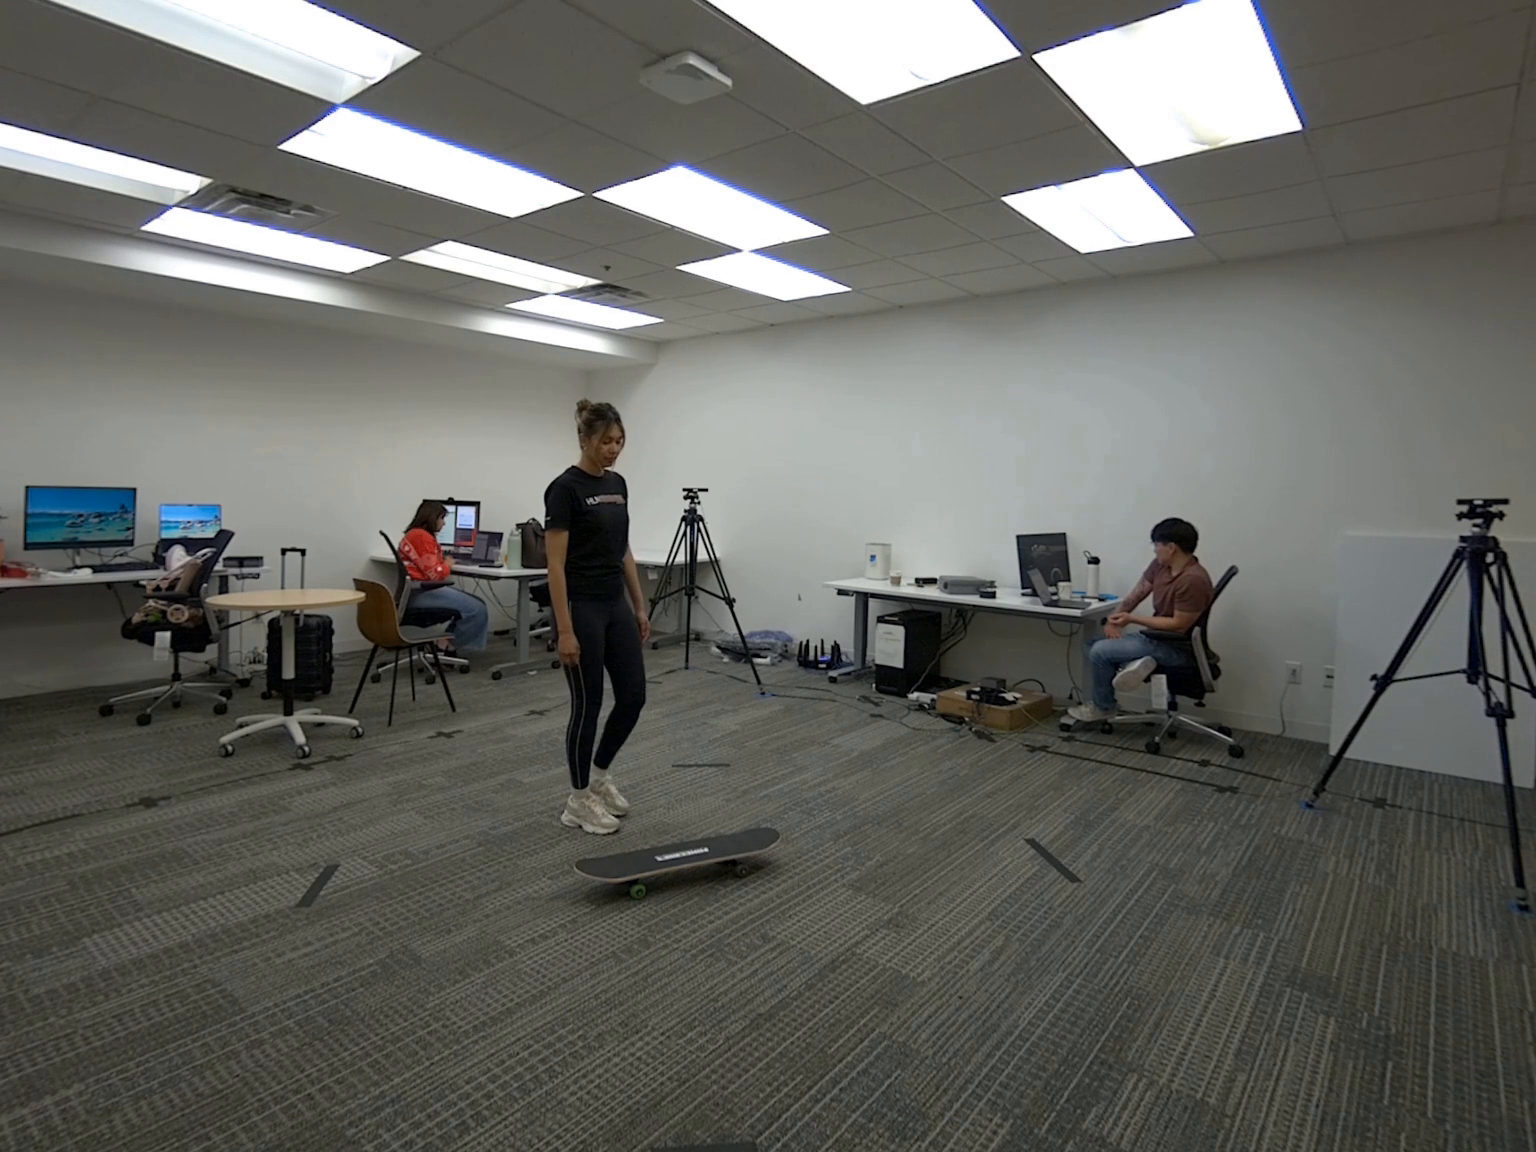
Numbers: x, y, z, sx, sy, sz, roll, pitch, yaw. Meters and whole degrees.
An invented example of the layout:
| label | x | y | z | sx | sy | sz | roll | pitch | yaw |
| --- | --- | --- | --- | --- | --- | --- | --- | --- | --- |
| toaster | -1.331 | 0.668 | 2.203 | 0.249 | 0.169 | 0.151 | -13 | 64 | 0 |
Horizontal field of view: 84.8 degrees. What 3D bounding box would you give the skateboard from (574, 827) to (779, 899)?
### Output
| label | x | y | z | sx | sy | sz | roll | pitch | yaw |
| --- | --- | --- | --- | --- | --- | --- | --- | --- | --- |
| skateboard | -0.316 | 1.018 | 3.032 | 0.766 | 0.110 | 0.199 | -2 | 5 | -27 |
